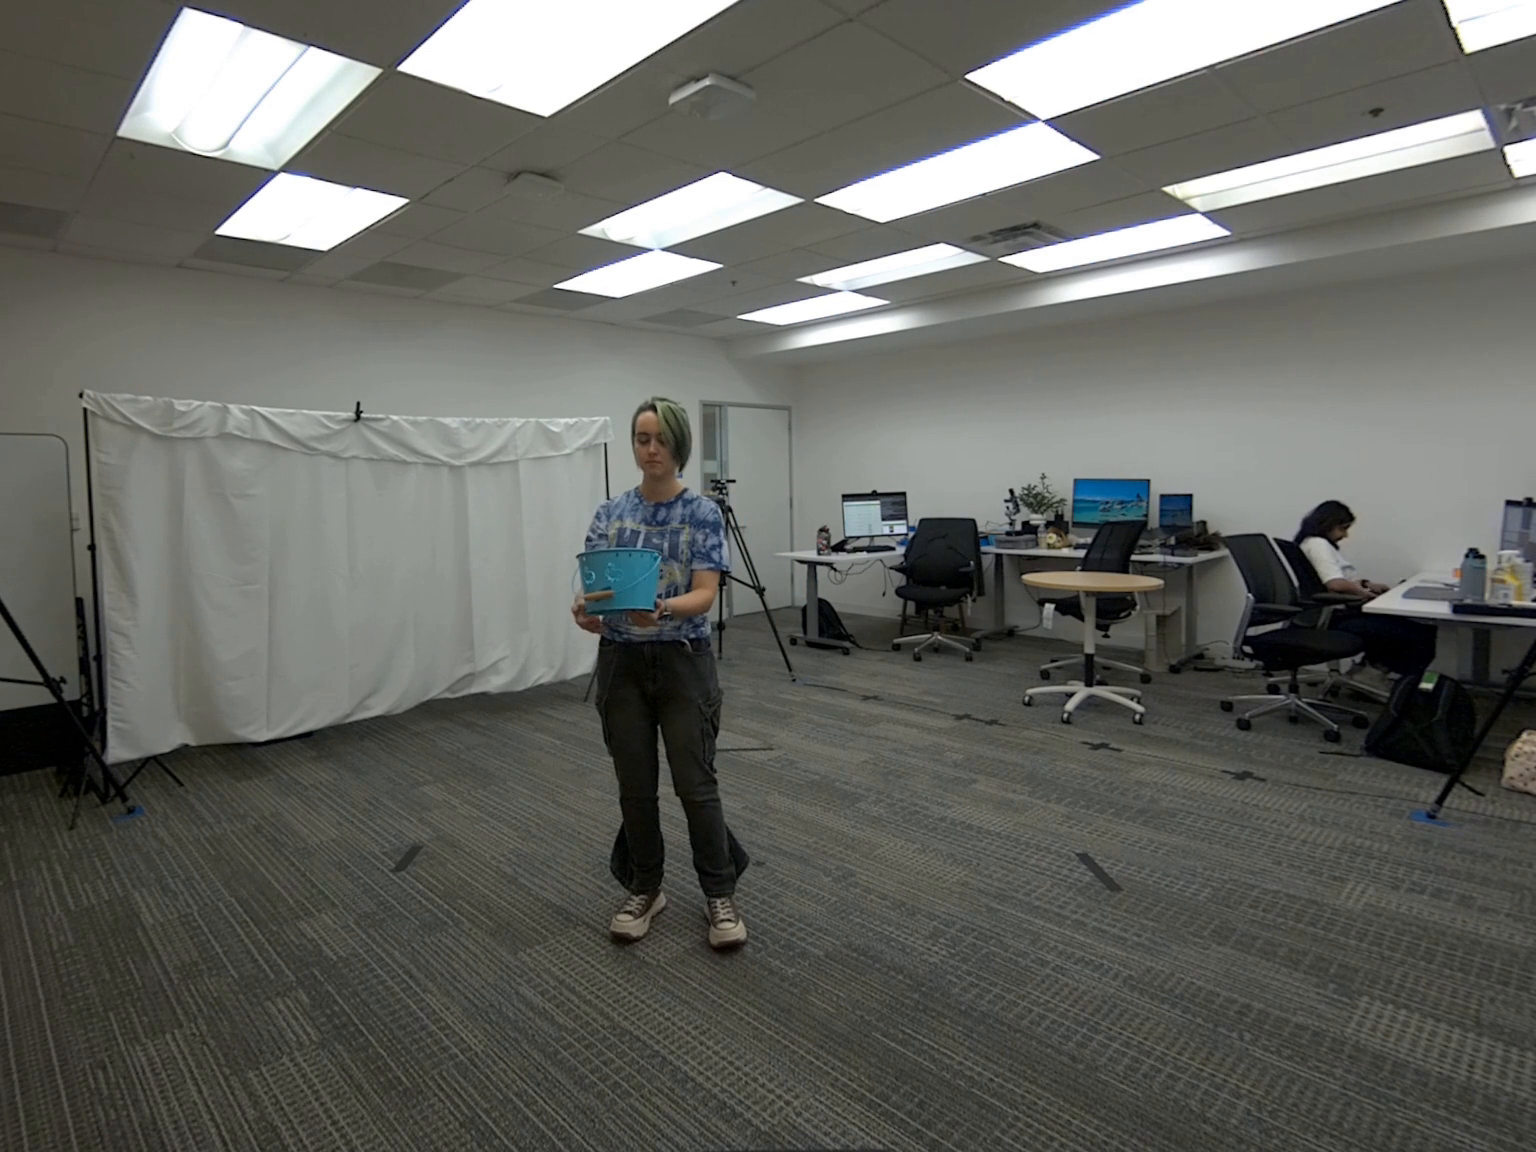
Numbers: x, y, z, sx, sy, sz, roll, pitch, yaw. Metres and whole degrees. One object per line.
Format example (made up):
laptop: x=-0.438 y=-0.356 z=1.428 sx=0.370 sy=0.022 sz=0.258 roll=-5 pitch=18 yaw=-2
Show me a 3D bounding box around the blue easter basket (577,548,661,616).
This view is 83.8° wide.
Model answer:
blue easter basket: x=-0.406 y=0.028 z=2.266 sx=0.243 sy=0.157 sz=0.242 roll=-4 pitch=-6 yaw=-2
